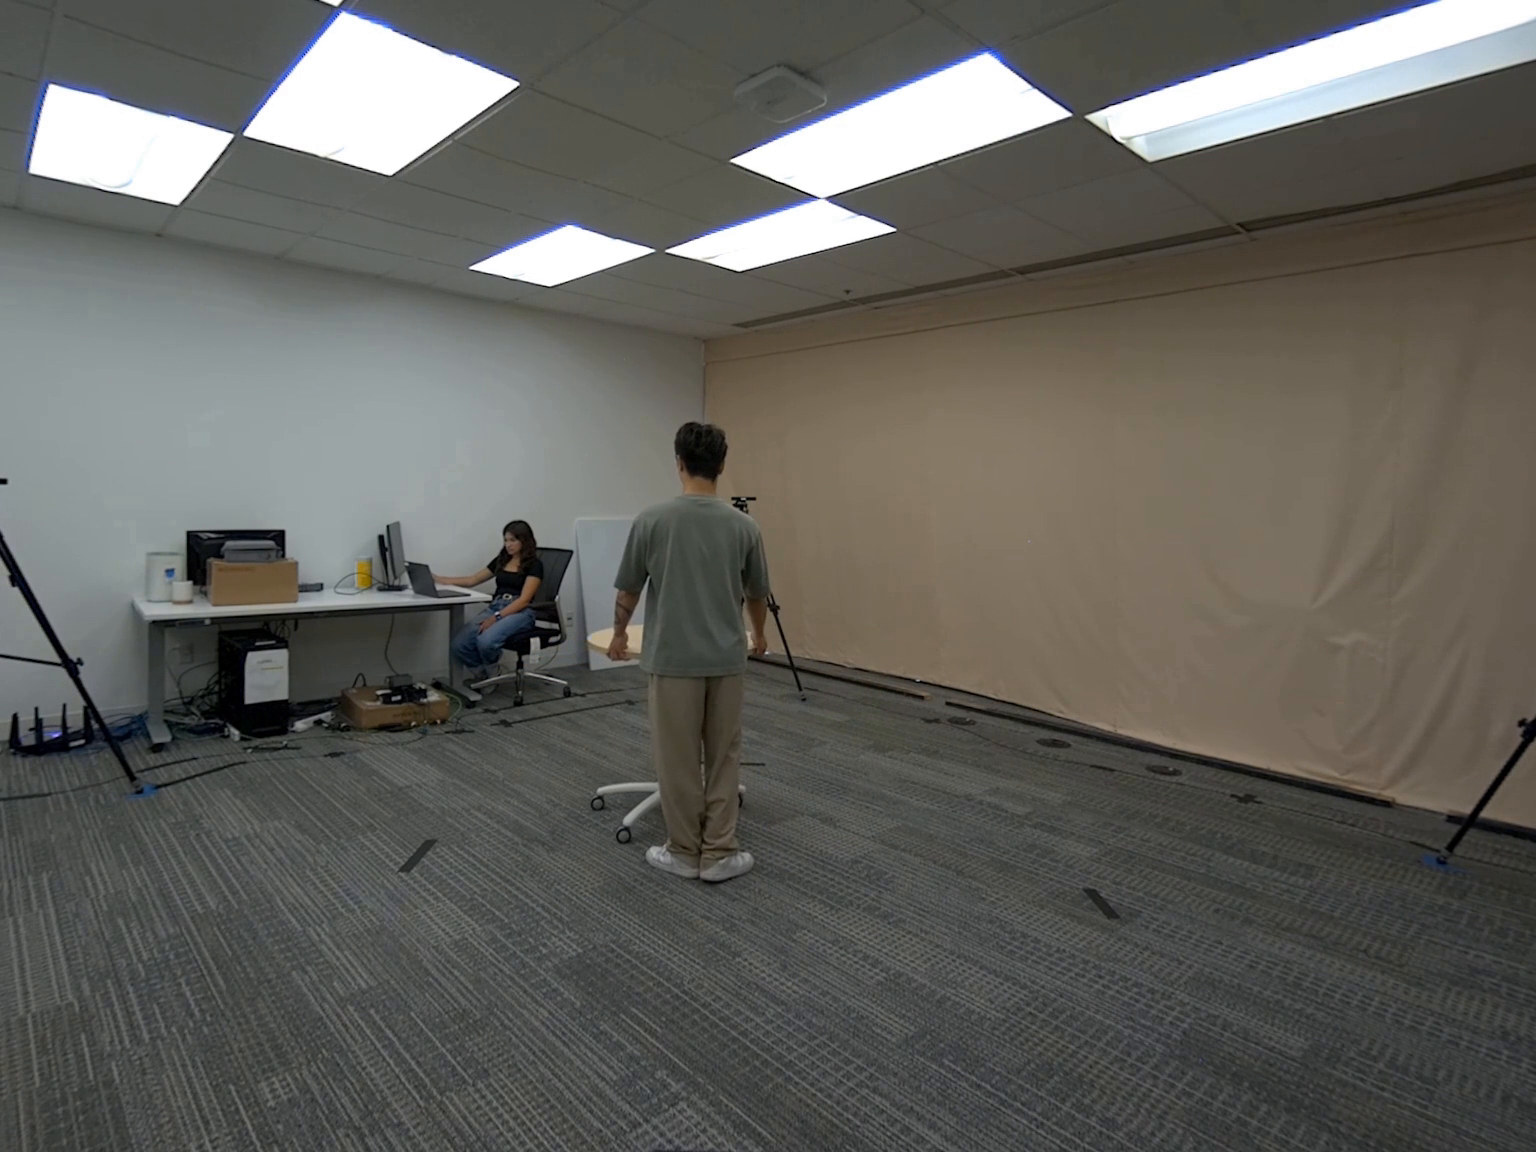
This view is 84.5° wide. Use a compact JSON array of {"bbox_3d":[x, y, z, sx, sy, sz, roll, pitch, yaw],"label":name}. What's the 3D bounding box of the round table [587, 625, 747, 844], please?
[{"bbox_3d":[-0.414,0.661,3.682,0.784,0.784,0.788,2,5,-2],"label":"round table"}]
